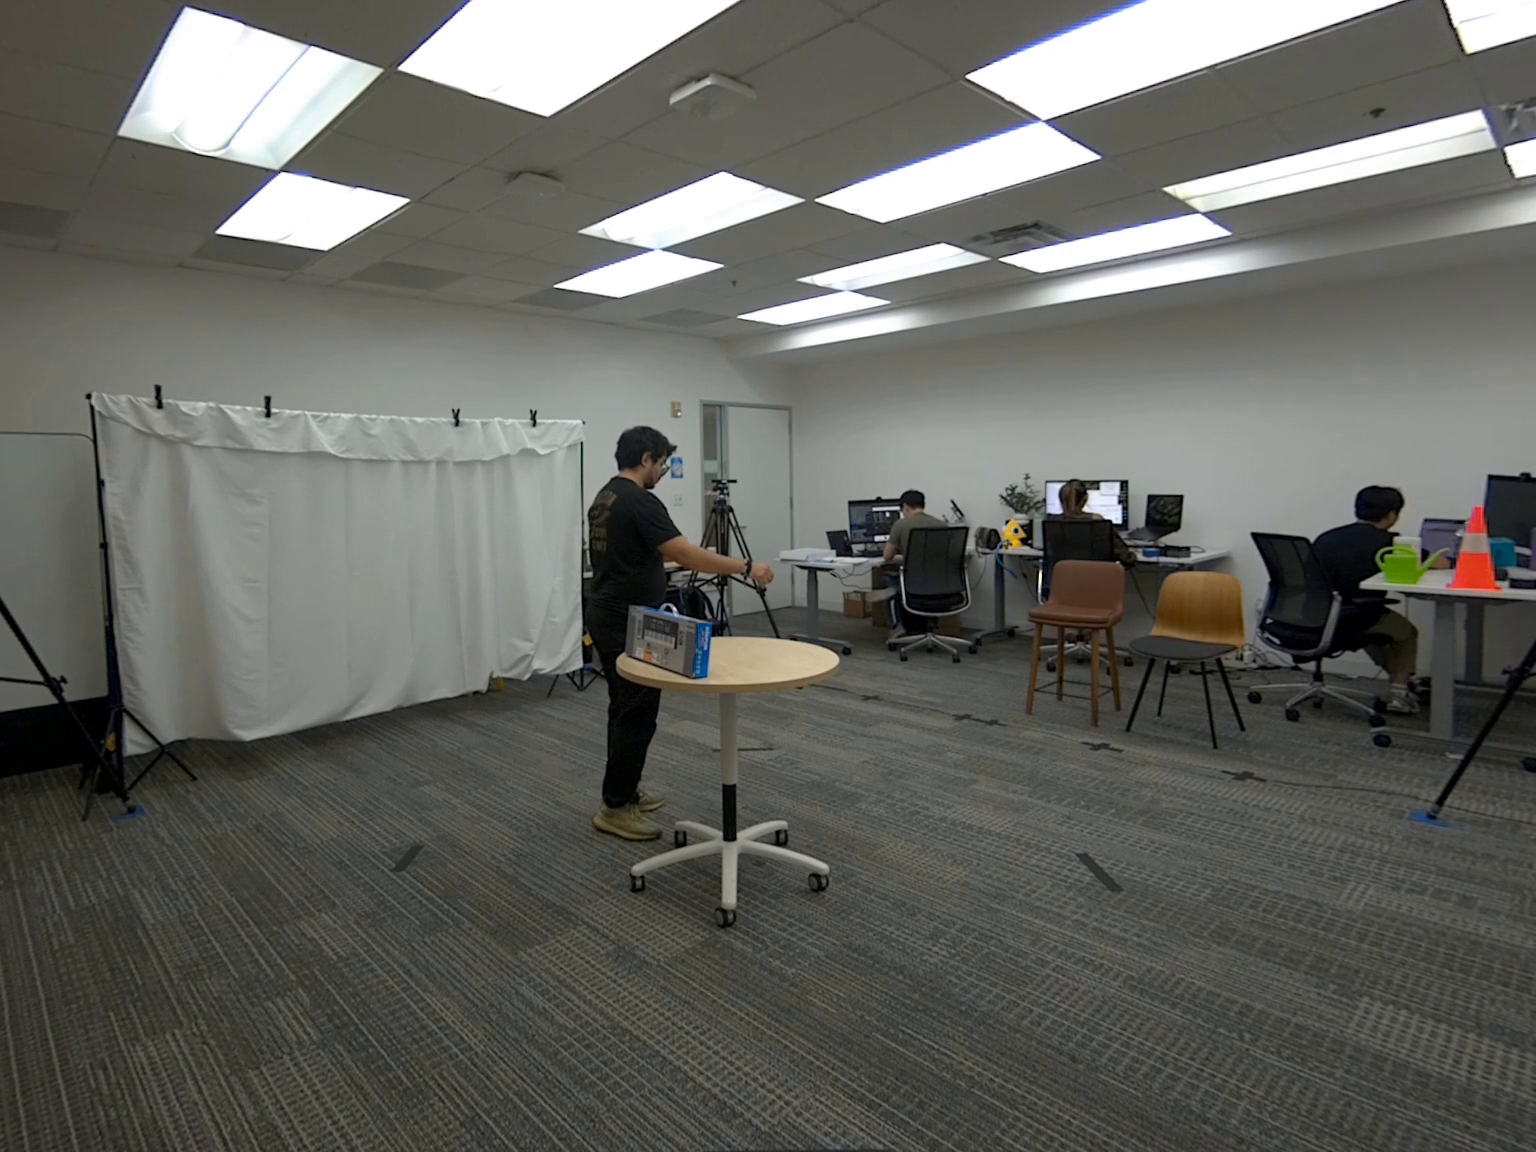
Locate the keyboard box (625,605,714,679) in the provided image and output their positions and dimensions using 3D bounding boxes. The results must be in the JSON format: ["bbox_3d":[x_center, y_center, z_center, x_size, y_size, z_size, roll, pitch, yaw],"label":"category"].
[{"bbox_3d":[-0.335,0.212,2.826,0.057,0.176,0.450,4,2,-37],"label":"keyboard box"}]
